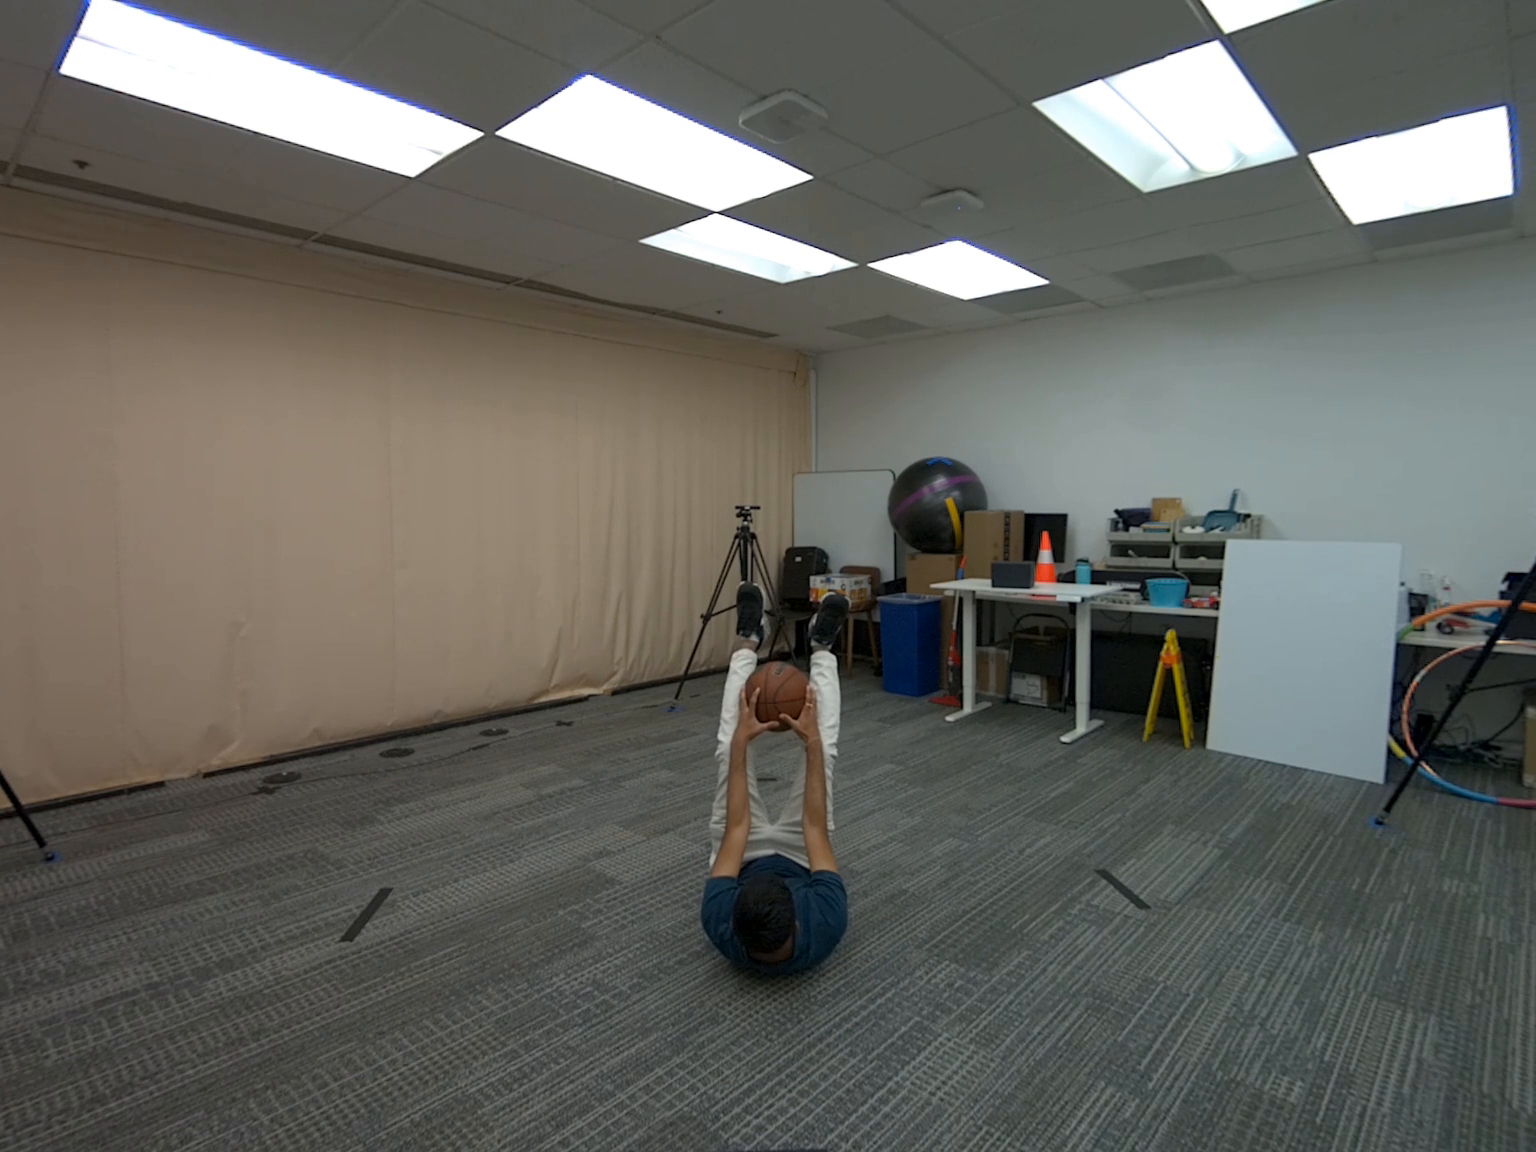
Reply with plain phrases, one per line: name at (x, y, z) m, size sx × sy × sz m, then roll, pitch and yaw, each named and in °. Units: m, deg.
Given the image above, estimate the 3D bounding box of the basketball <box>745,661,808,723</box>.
basketball at (0.040, 0.413, 2.897) m, size 0.236 × 0.235 × 0.237 m, roll 0°, pitch 4°, yaw -2°
